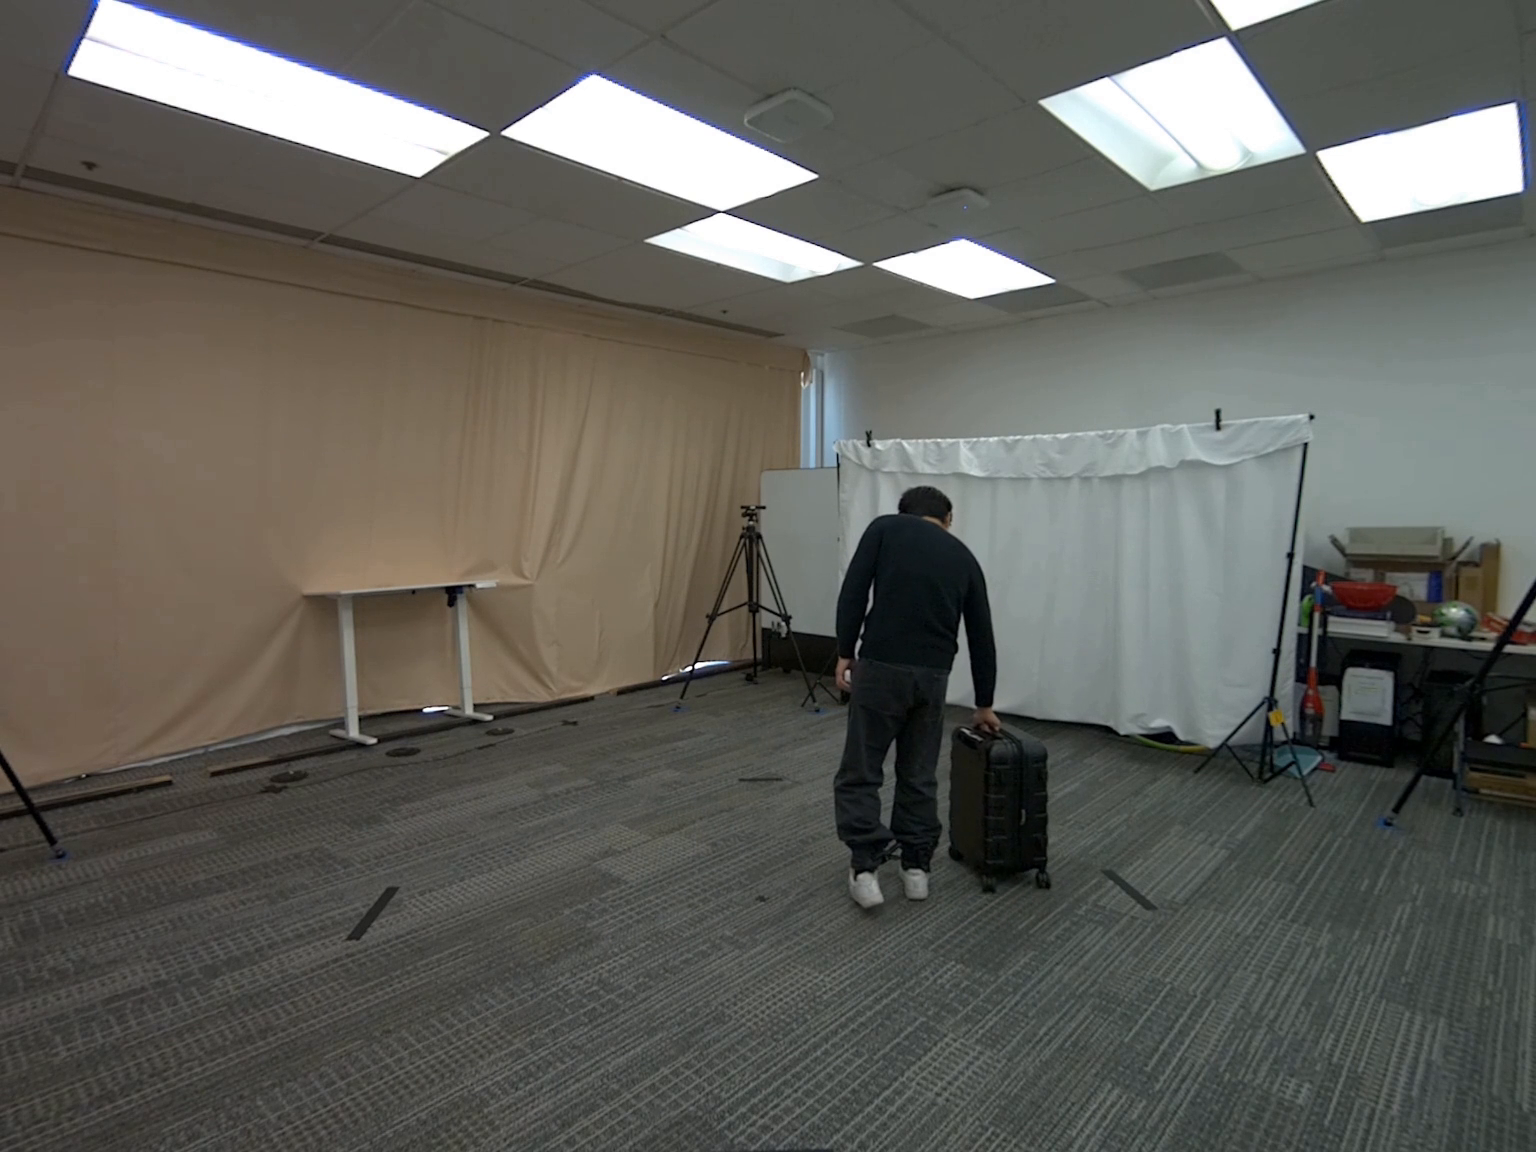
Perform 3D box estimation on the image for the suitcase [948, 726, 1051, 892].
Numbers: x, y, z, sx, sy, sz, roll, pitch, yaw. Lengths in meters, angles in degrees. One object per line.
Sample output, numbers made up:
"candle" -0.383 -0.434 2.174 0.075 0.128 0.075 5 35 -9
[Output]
"suitcase" 0.872 0.845 3.206 0.246 0.549 0.379 -1 2 -10
